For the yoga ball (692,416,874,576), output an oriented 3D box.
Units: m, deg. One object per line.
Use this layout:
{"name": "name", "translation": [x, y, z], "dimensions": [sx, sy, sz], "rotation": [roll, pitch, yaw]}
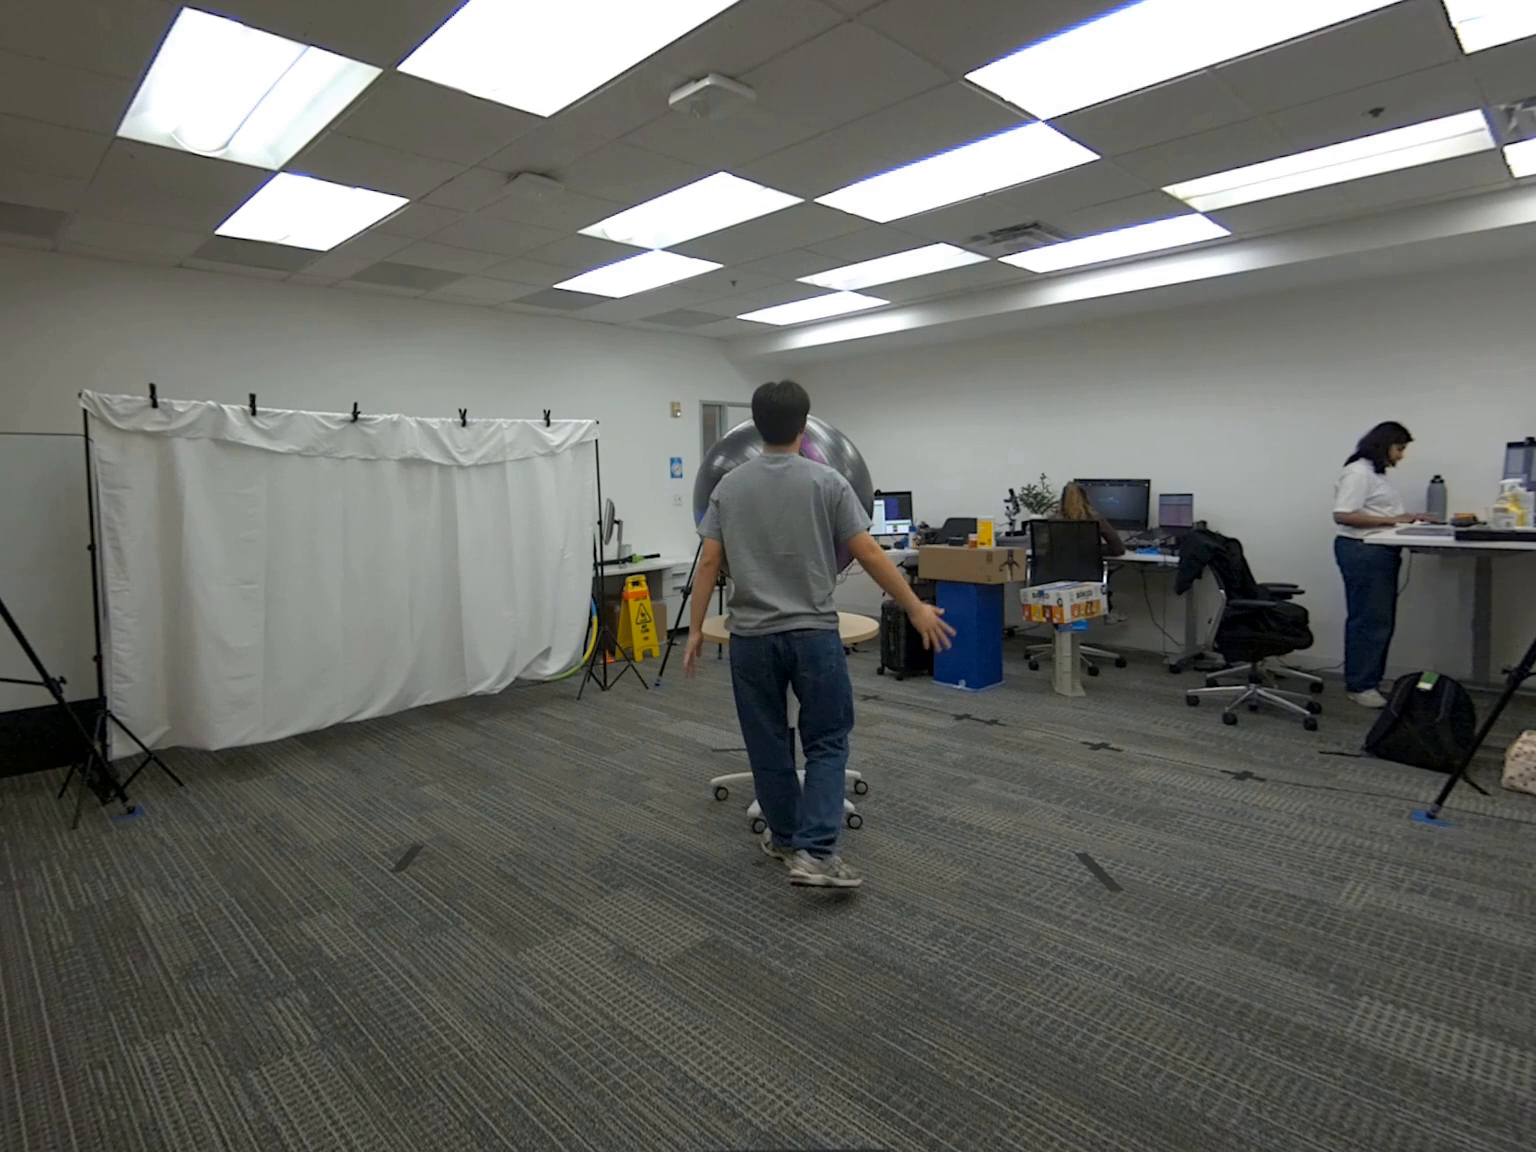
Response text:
{"name": "yoga ball", "translation": [0.065, -0.306, 3.599], "dimensions": [0.757, 0.755, 0.762], "rotation": [-1, 5, -2]}
